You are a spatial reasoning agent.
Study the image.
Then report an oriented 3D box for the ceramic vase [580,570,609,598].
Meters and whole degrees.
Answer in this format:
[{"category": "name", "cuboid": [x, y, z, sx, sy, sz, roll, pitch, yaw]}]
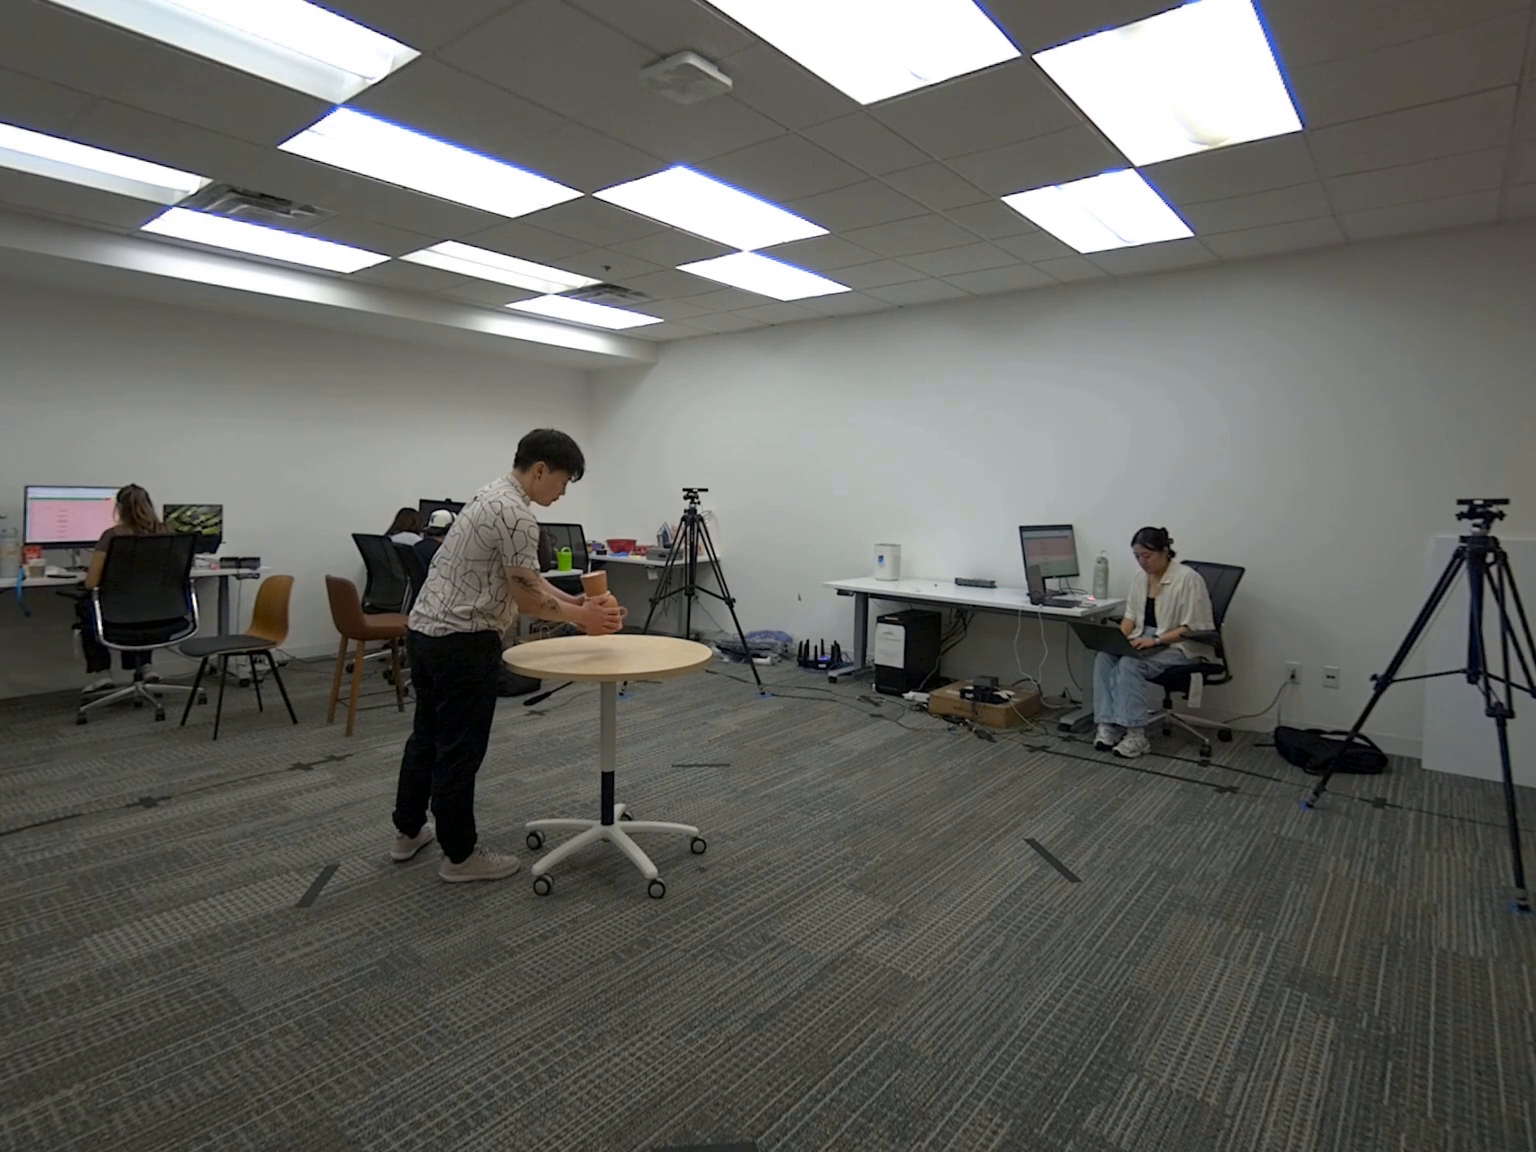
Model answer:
[{"category": "ceramic vase", "cuboid": [-0.658, 0.101, 3.137, 0.138, 0.218, 0.156, -6, 9, 32]}]
